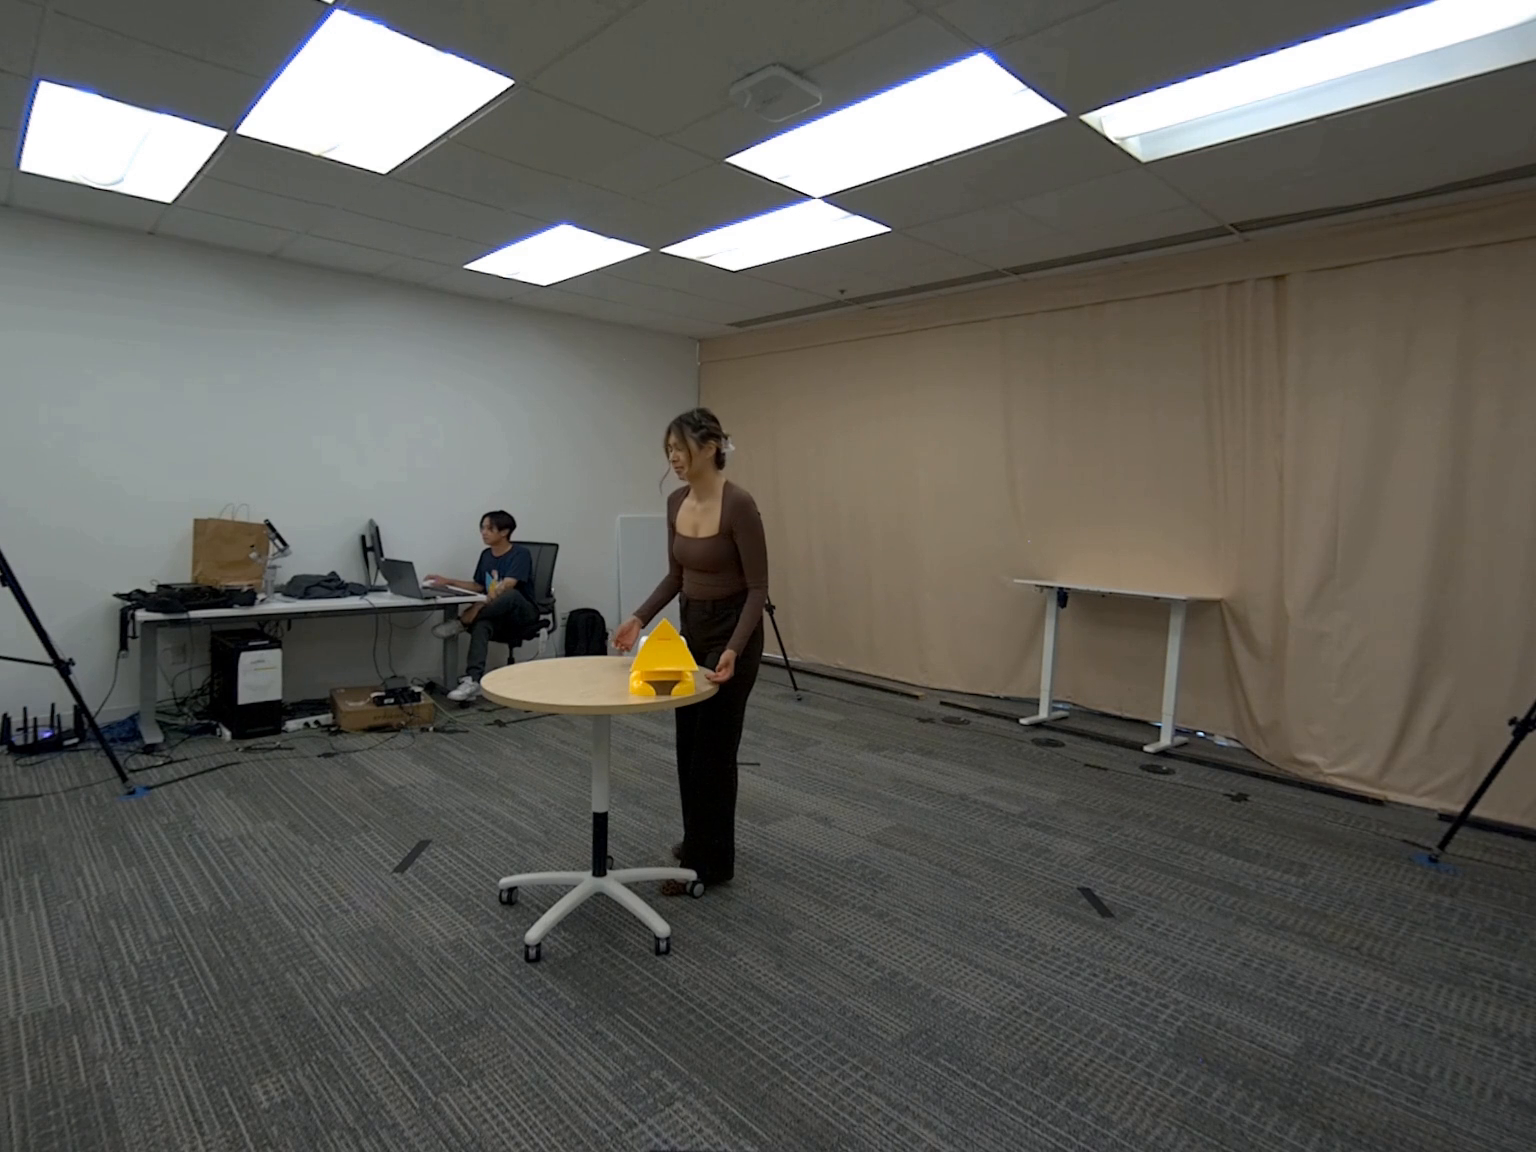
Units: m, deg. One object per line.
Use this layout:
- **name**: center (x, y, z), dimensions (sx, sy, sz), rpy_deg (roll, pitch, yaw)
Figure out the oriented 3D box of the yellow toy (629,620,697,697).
- **yellow toy**: center (-0.332, 0.239, 2.566), dimensions (0.203, 0.230, 0.195), rpy_deg (1, 4, -11)
